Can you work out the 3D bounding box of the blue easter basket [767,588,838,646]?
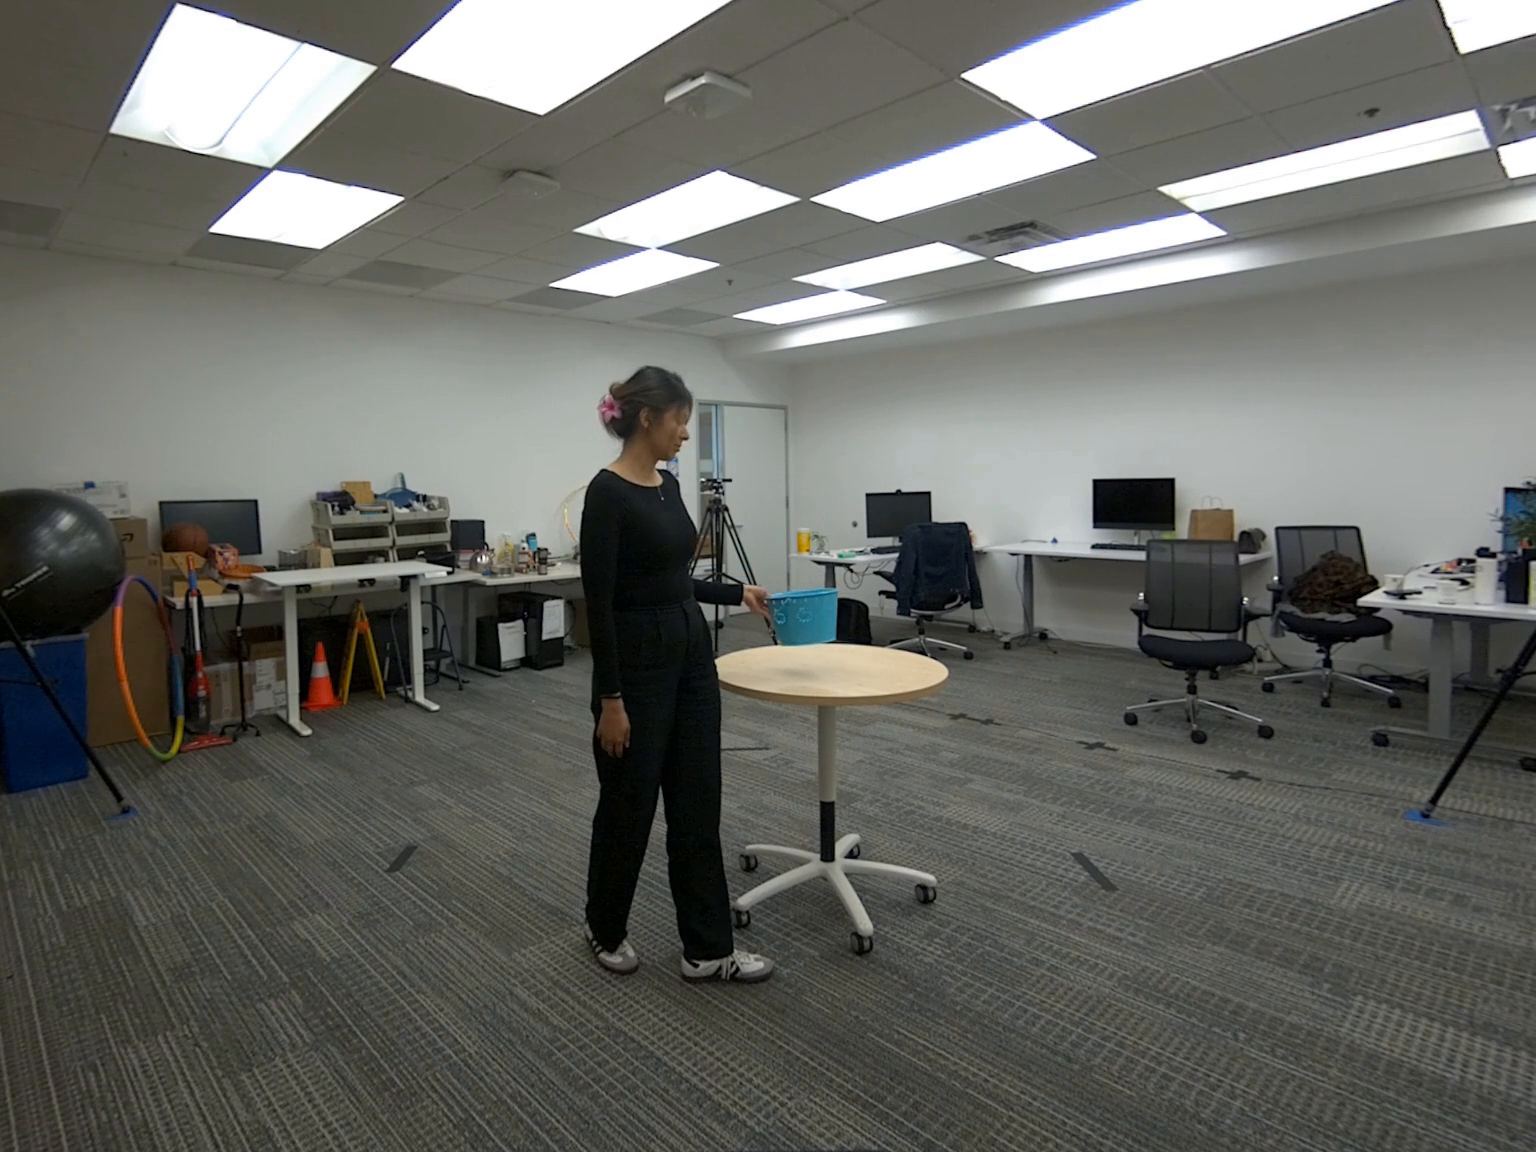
[{"bbox_3d":[0.111,0.131,2.653,0.243,0.156,0.244,-5,2,-2],"label":"blue easter basket"}]
